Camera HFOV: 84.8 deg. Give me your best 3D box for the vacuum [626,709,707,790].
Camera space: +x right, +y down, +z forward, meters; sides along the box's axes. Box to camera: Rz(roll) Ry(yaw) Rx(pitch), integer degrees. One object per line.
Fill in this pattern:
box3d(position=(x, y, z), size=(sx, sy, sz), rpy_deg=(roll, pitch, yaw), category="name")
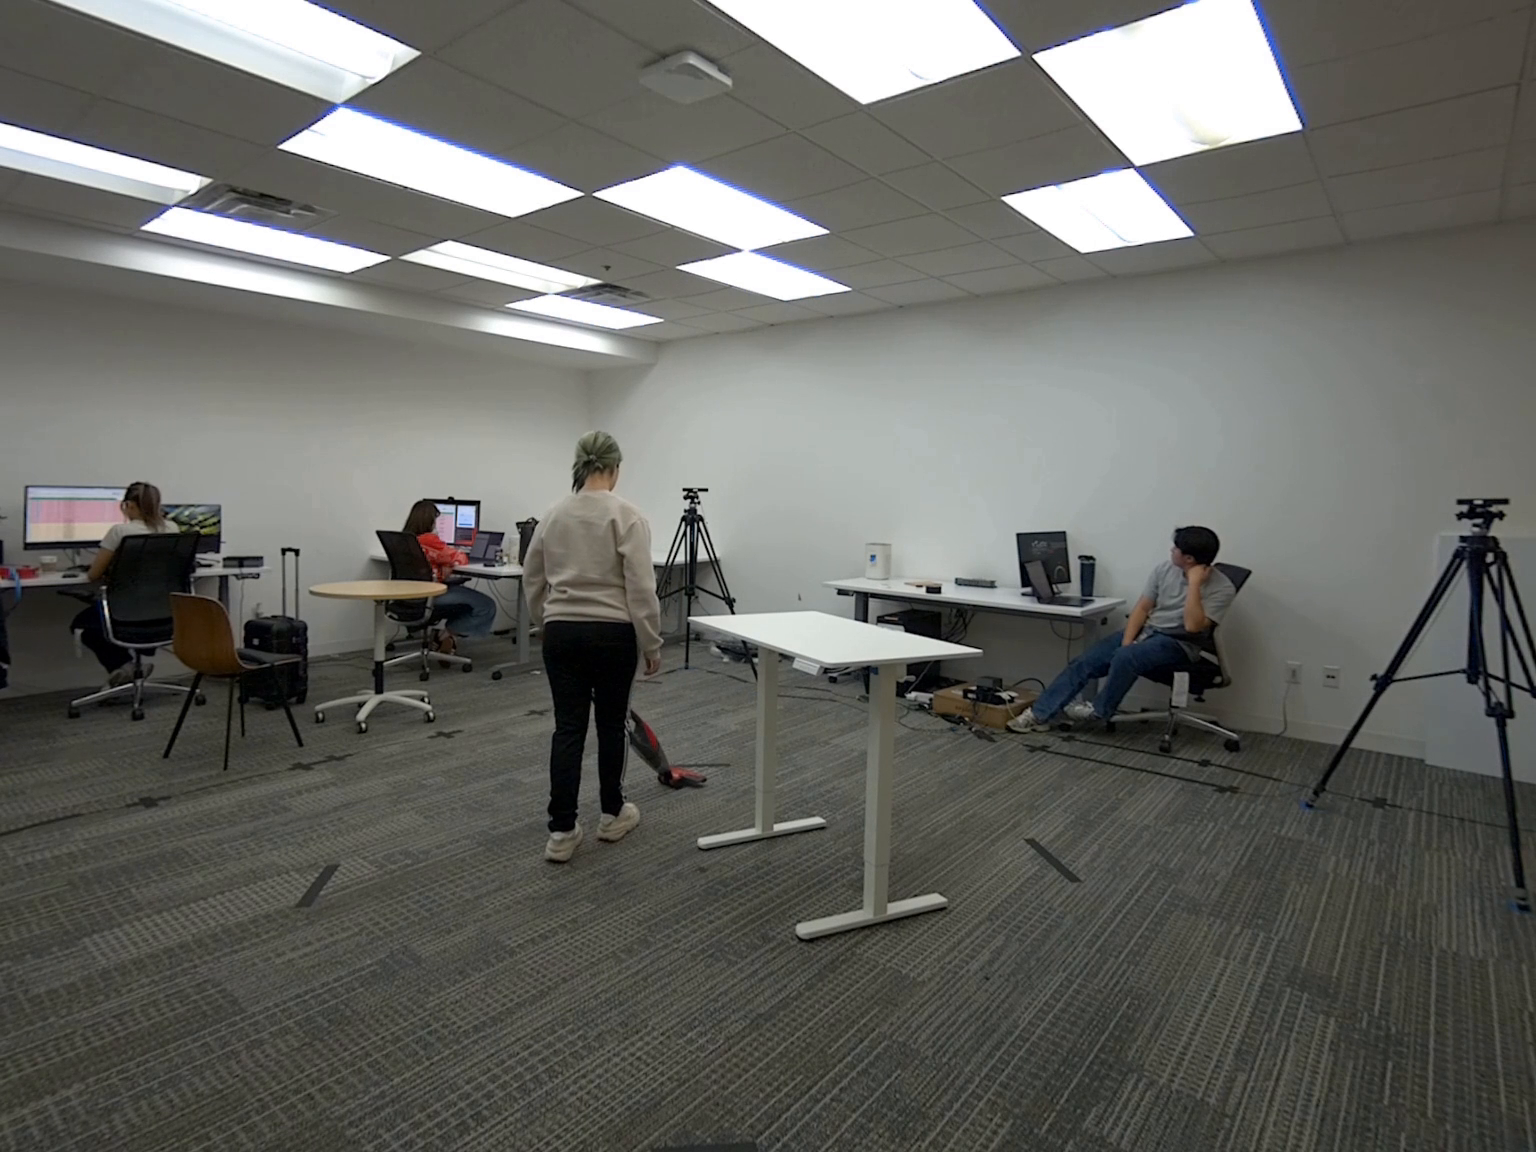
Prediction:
box3d(position=(-0.670, 0.613, 3.767), size=(0.260, 1.011, 0.145), rpy_deg=(-6, 42, 39), category="vacuum")
